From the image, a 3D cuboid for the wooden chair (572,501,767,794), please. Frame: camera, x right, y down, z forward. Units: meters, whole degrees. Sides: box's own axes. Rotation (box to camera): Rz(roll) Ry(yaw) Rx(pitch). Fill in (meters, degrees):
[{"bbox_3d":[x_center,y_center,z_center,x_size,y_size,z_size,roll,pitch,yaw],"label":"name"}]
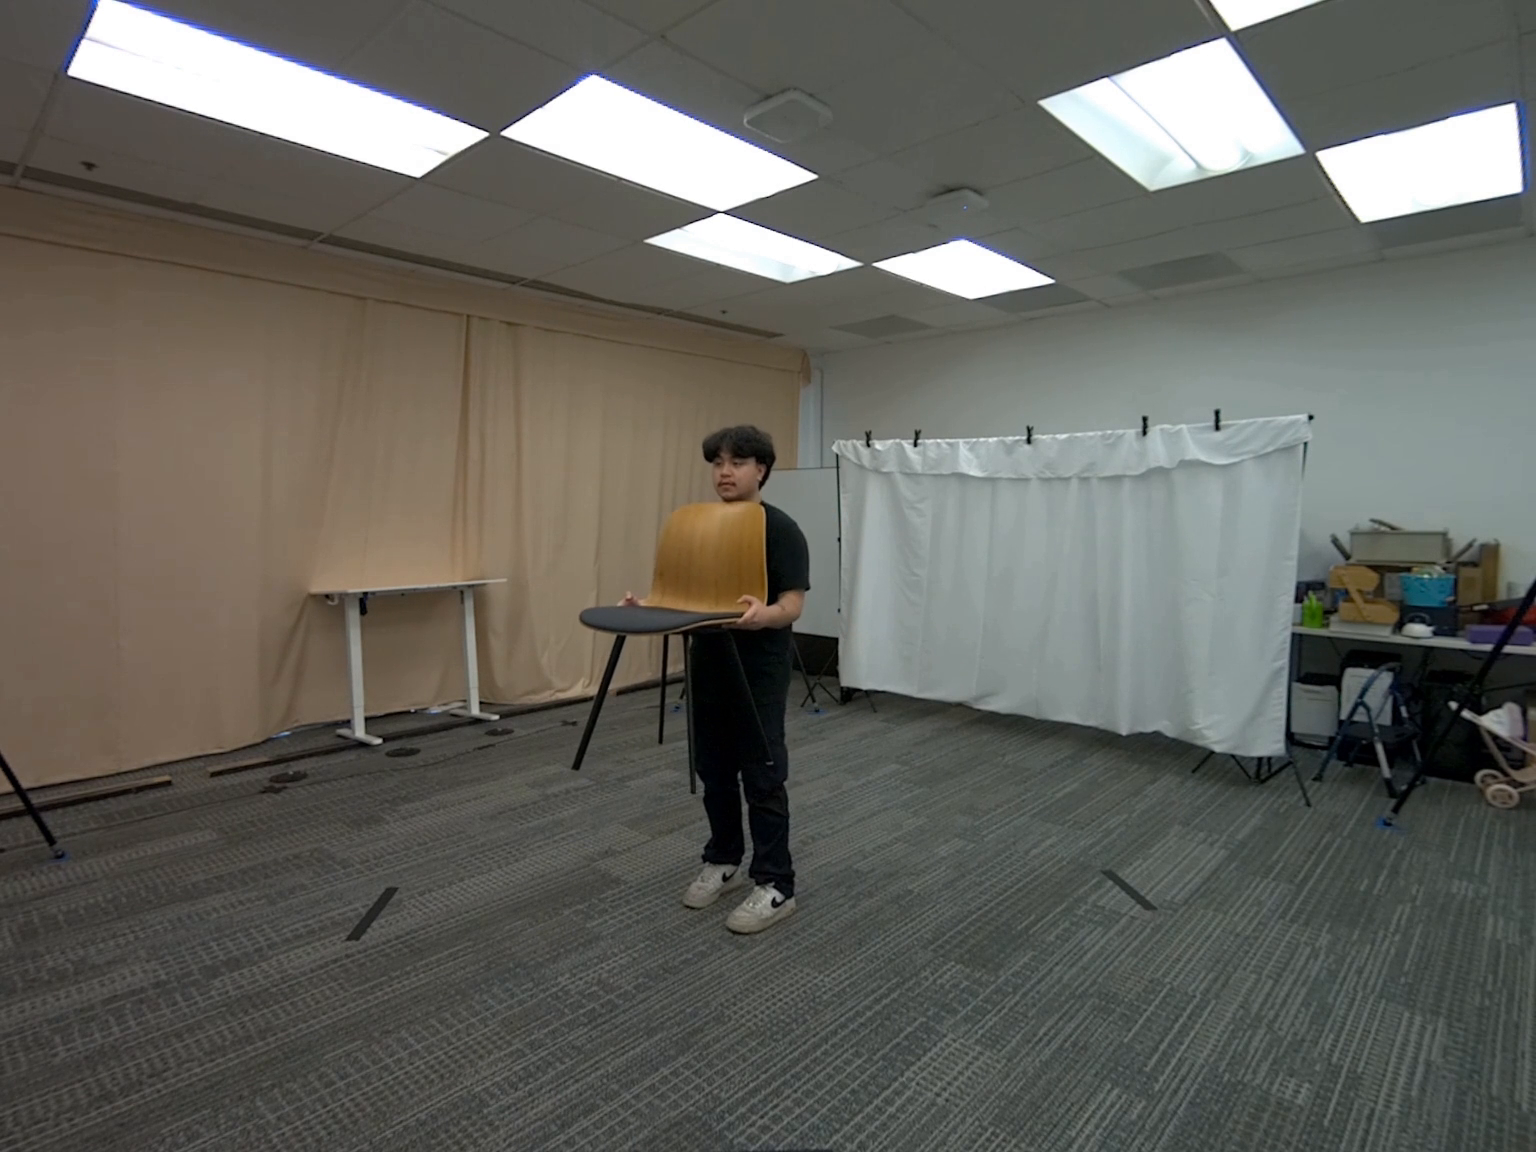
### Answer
[{"bbox_3d":[-0.277,0.178,2.625,0.492,0.879,0.507,2,-3,30],"label":"wooden chair"}]
